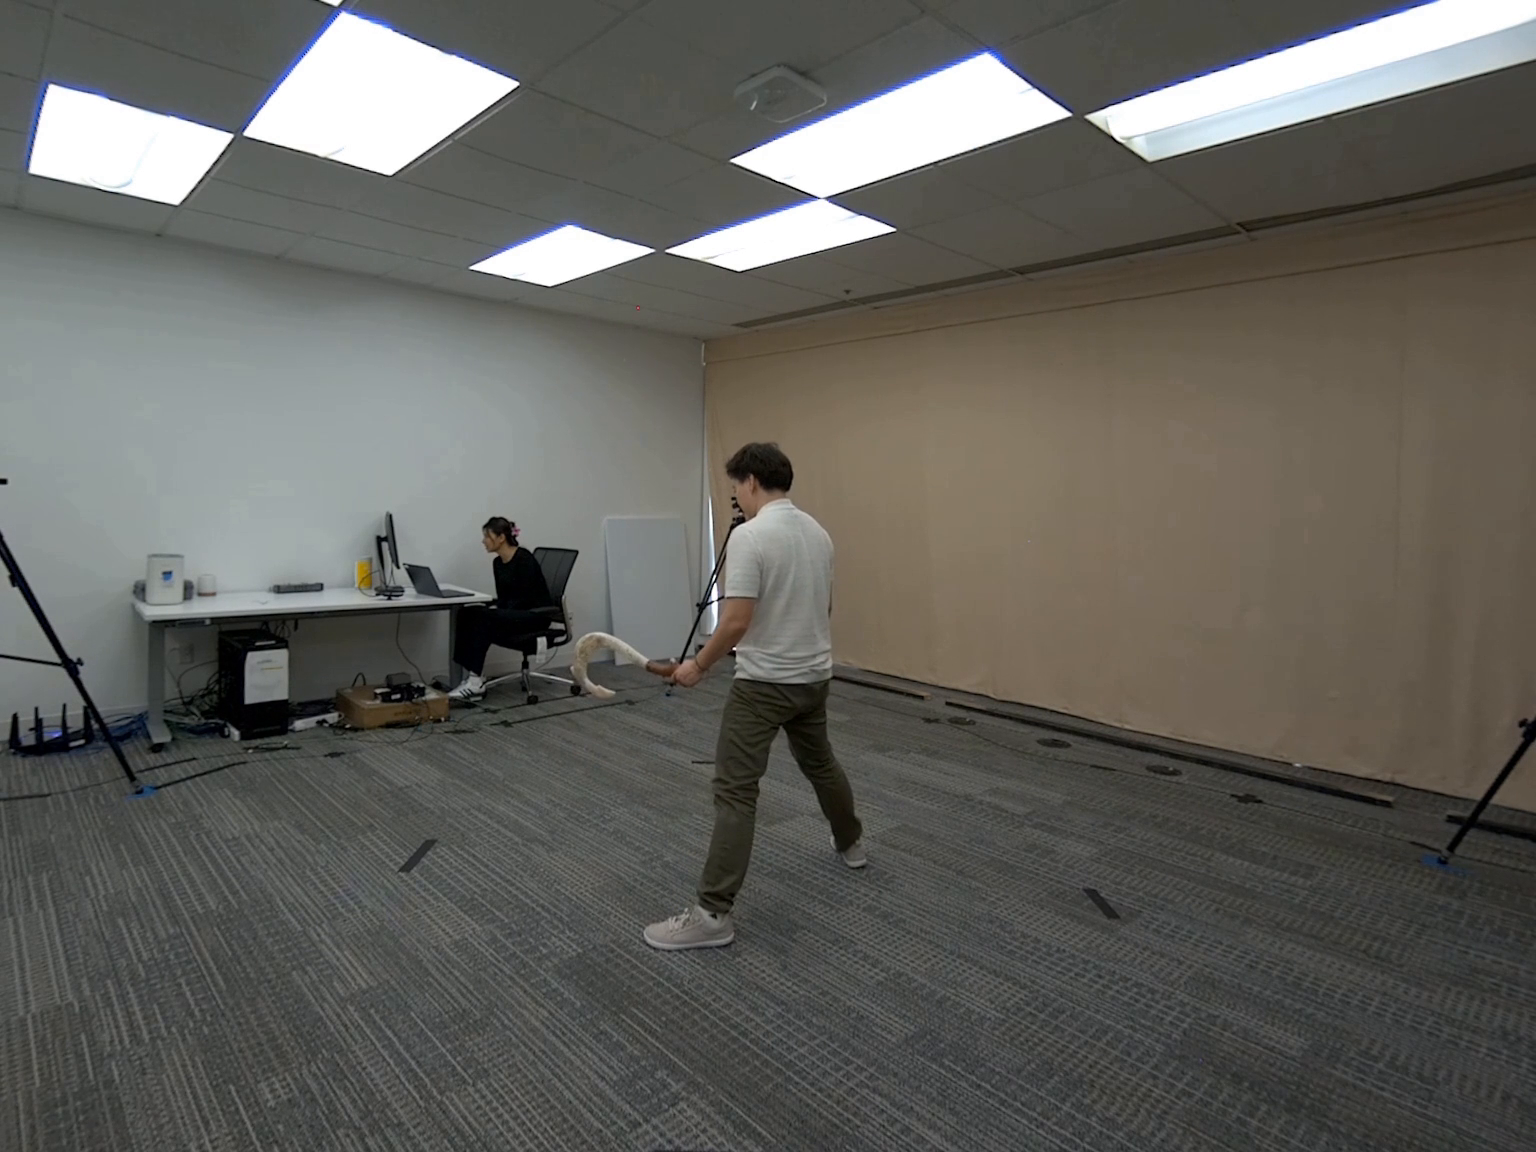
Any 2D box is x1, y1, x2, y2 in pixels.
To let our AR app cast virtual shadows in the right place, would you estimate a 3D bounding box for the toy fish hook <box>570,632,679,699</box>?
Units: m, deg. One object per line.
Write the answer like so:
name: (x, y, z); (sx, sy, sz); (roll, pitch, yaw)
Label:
toy fish hook: (-0.477, 0.348, 2.965); (0.517, 0.224, 0.047); (13, 7, 23)
